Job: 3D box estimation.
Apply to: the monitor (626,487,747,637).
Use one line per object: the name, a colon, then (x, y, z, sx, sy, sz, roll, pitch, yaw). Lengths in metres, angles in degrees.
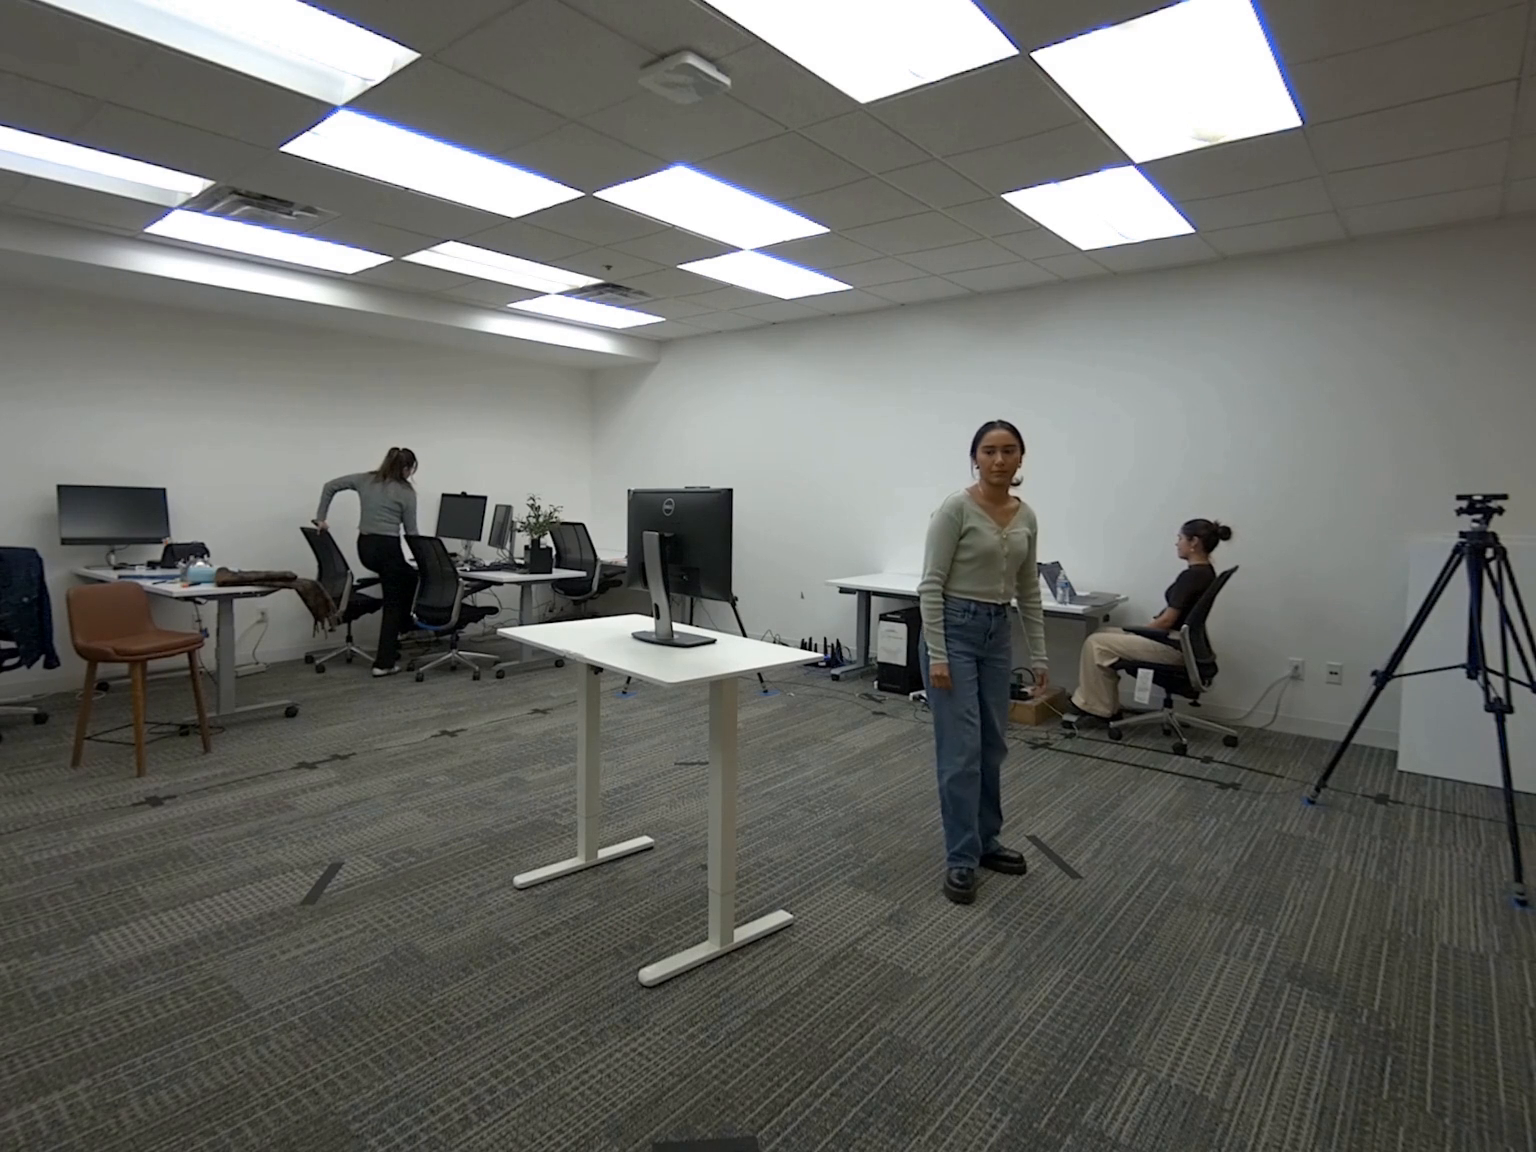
monitor: (-0.330, -0.030, 2.795, 0.557, 0.523, 0.181, 4, -1, 44)
